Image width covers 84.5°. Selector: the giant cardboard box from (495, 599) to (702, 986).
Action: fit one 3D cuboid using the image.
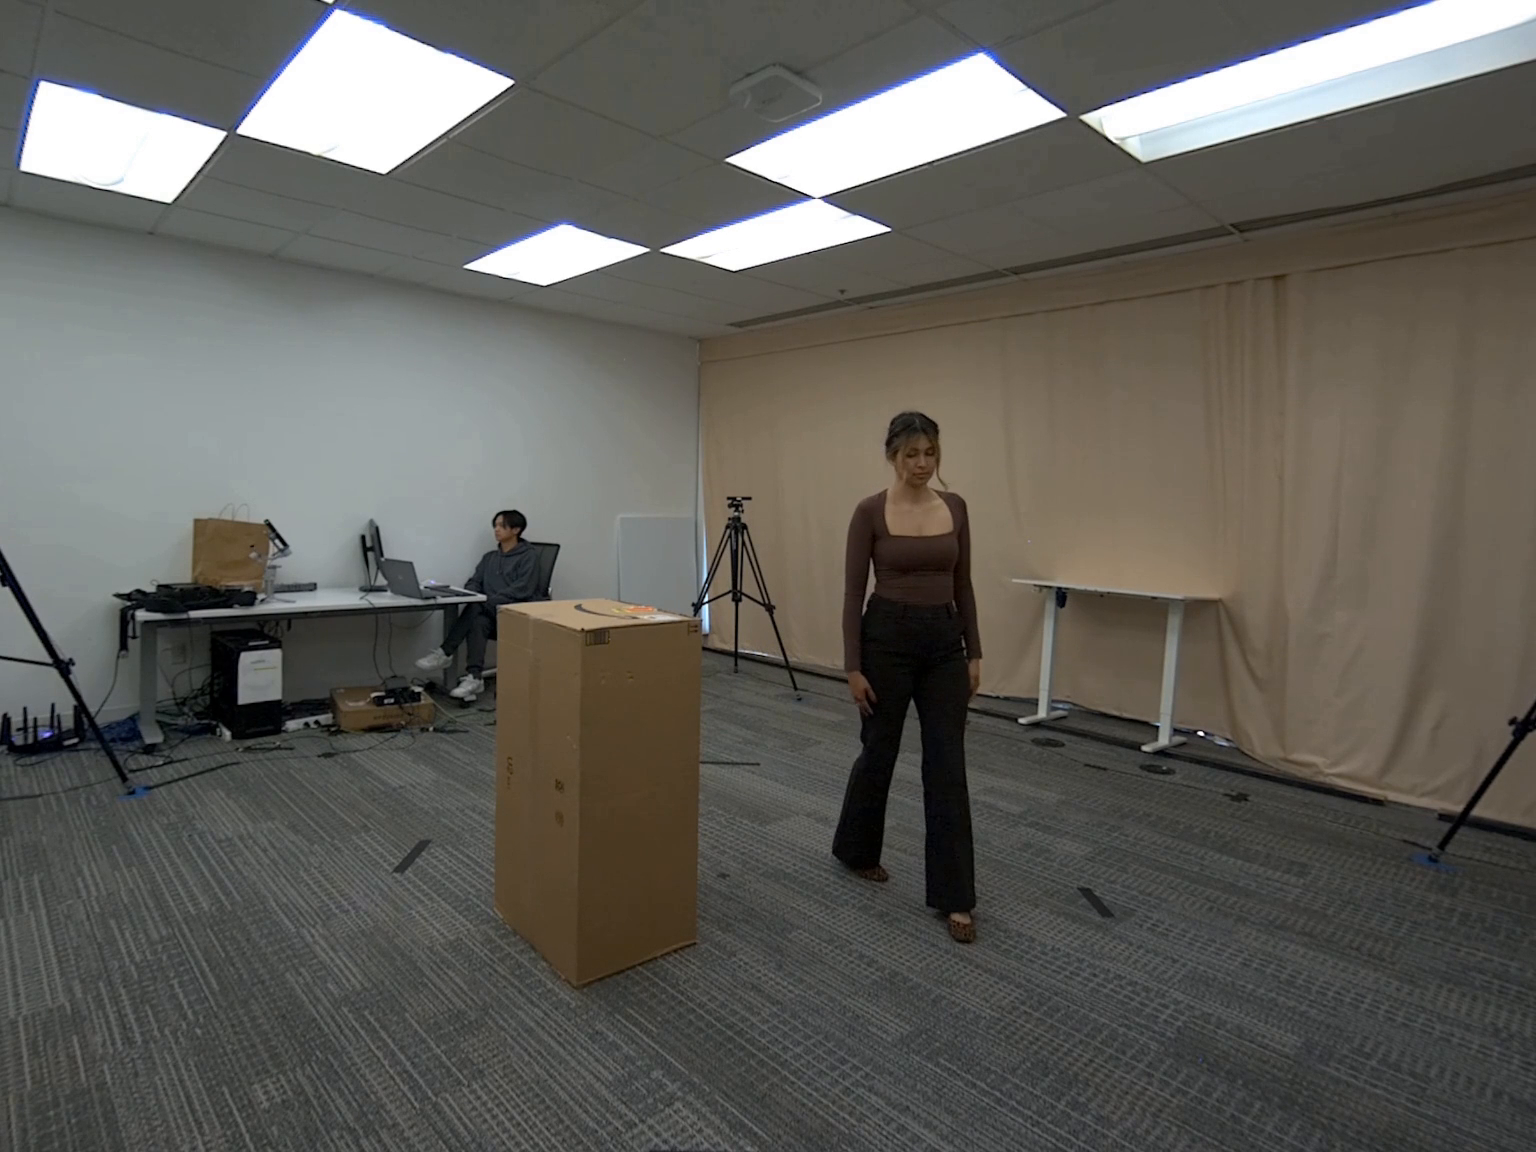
[{"bbox_3d":[-0.560,0.623,2.692,0.436,1.025,0.598,0,3,-39],"label":"giant cardboard box"}]
